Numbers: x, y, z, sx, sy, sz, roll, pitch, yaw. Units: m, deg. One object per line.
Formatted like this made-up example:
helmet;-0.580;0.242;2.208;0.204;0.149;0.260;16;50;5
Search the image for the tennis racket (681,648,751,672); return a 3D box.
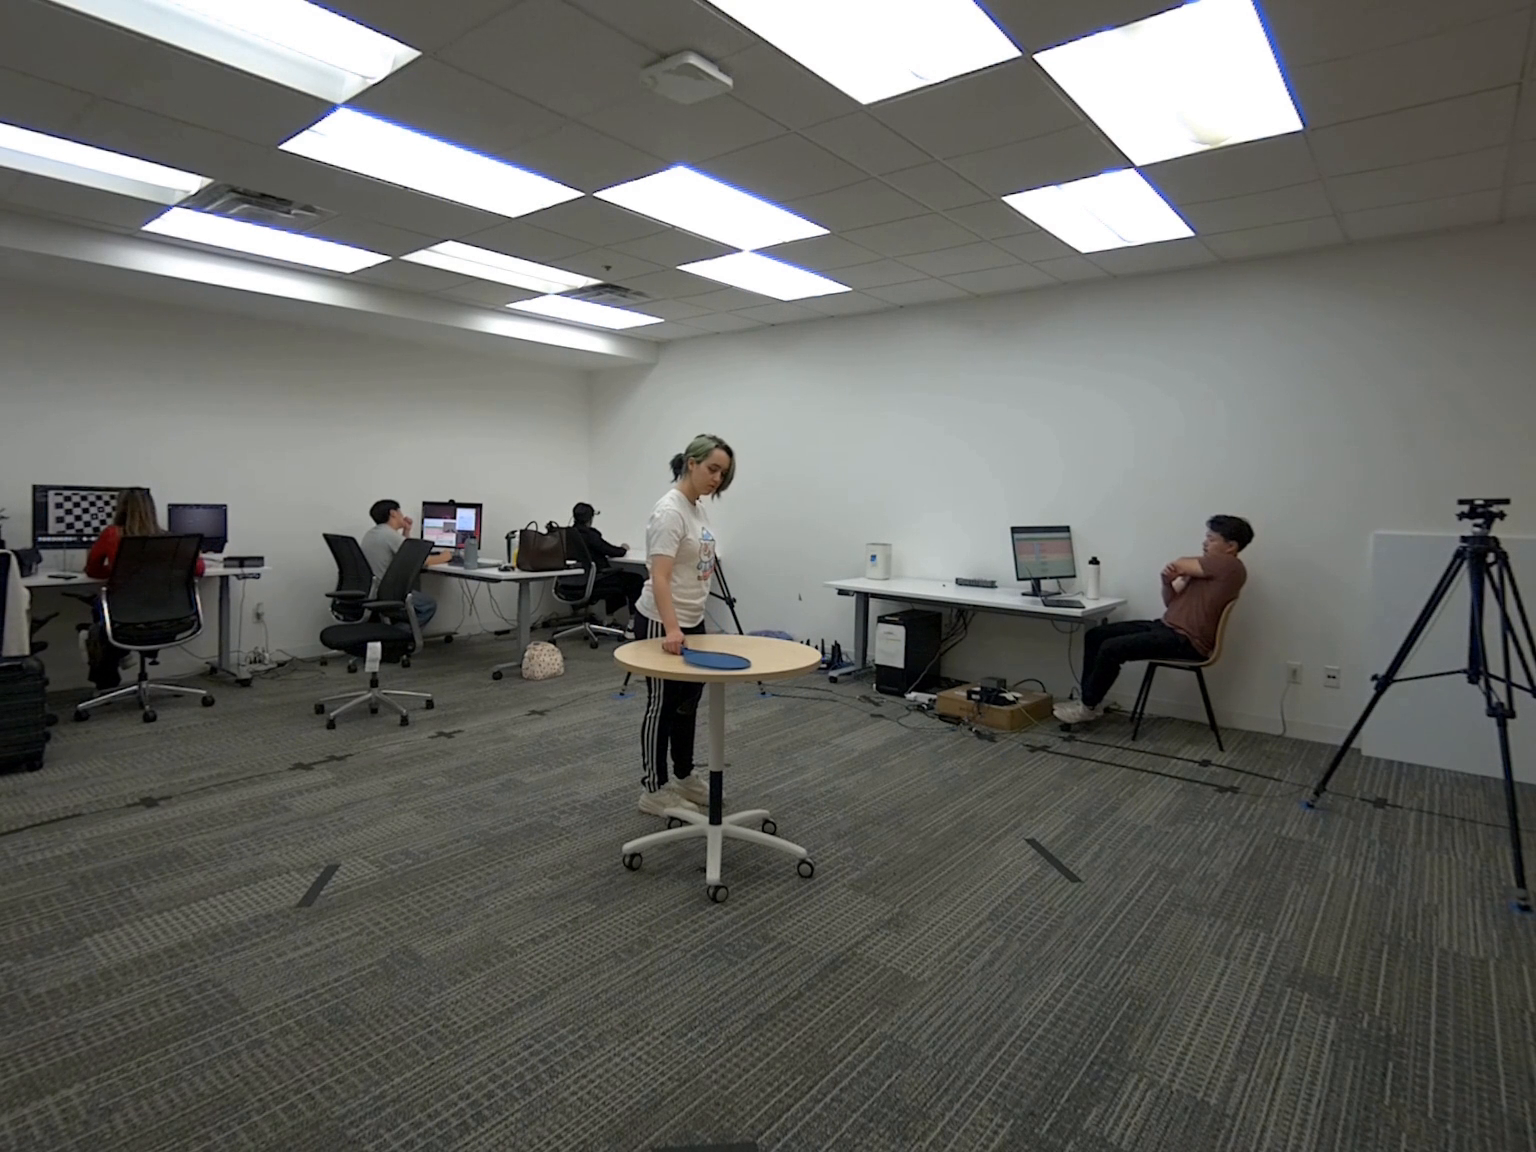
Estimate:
tennis racket;-0.239;0.284;3.017;0.207;0.031;0.448;-2;7;-39
